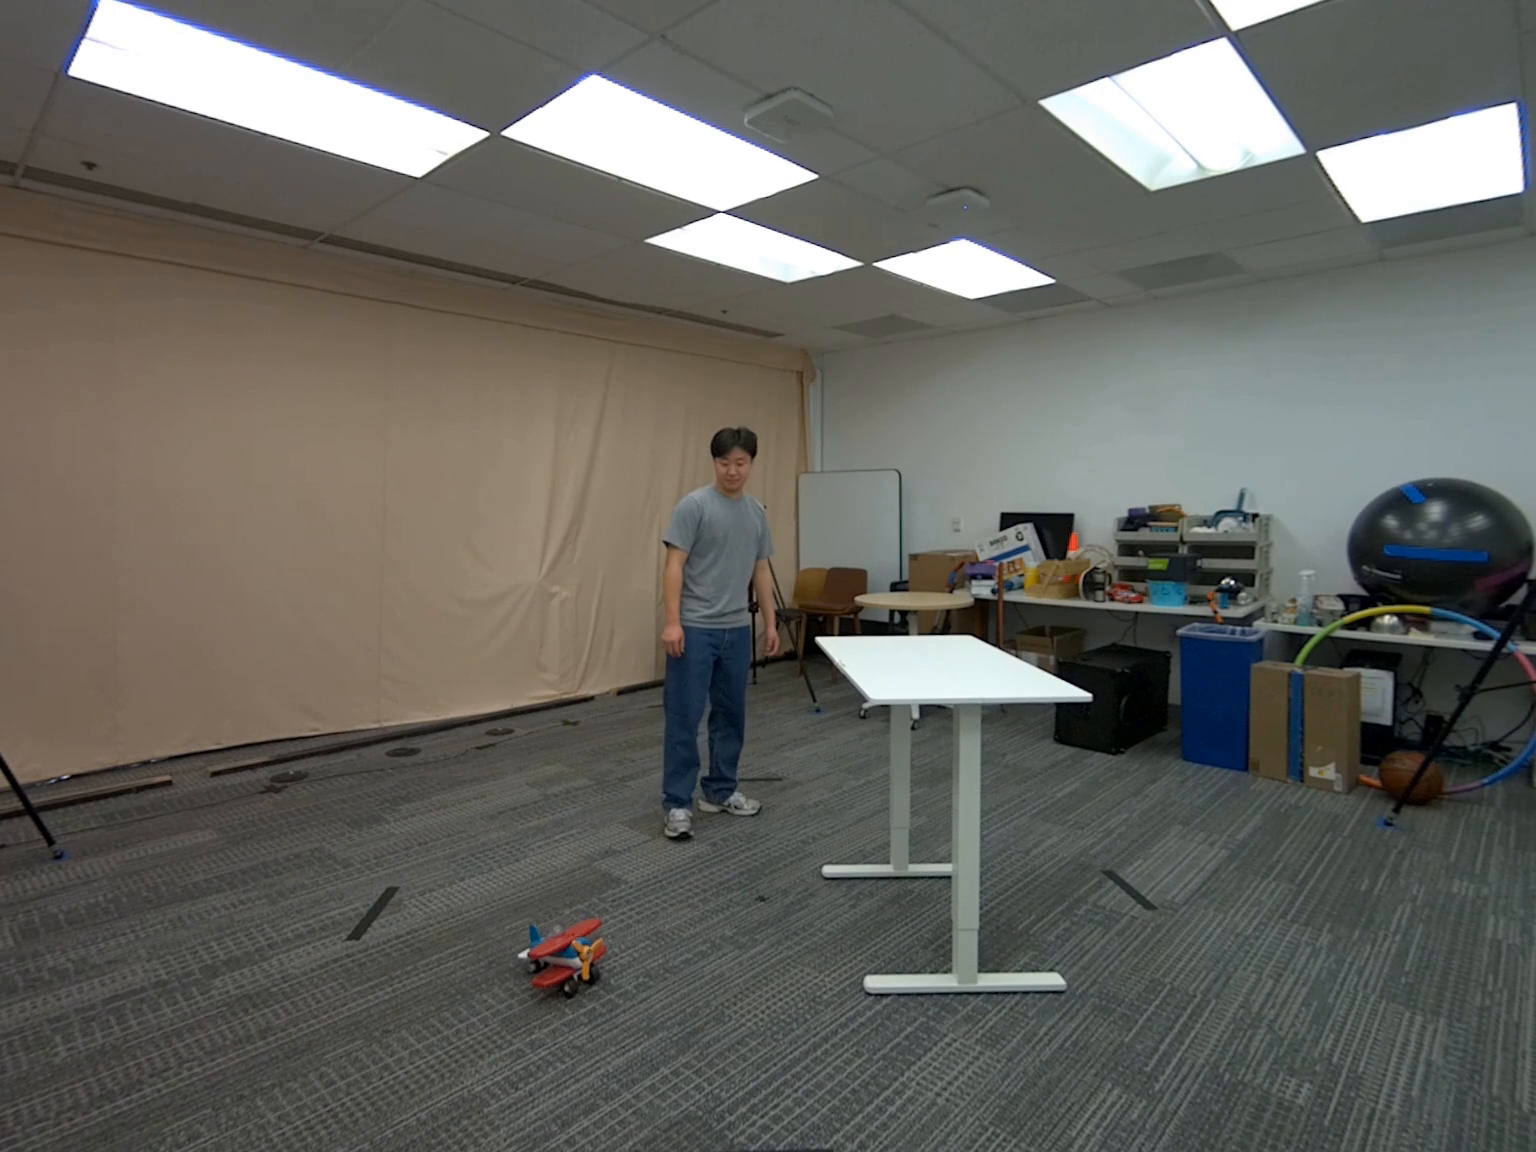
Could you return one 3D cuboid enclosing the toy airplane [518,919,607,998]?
[{"bbox_3d":[-0.621,1.111,2.462,0.262,0.156,0.249,2,4,8],"label":"toy airplane"}]
